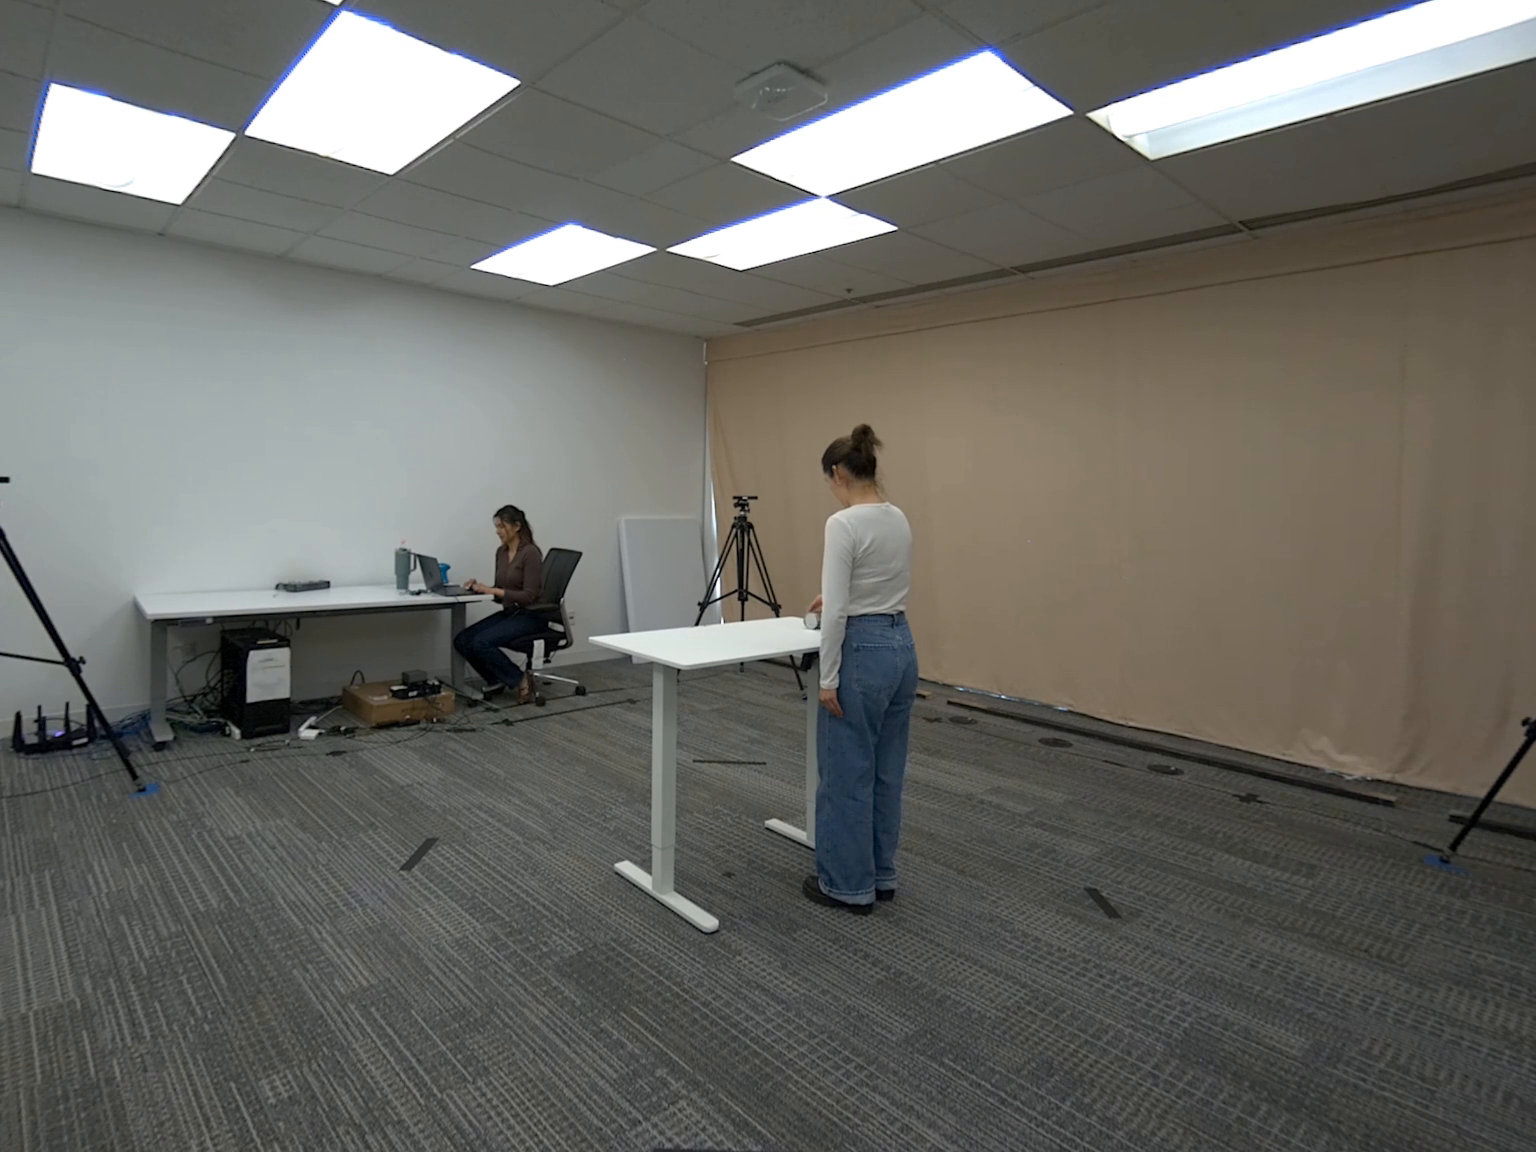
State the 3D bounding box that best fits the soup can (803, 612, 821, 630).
[{"bbox_3d":[0.178,0.174,3.316,0.068,0.067,0.121,2,5,11],"label":"soup can"}]
